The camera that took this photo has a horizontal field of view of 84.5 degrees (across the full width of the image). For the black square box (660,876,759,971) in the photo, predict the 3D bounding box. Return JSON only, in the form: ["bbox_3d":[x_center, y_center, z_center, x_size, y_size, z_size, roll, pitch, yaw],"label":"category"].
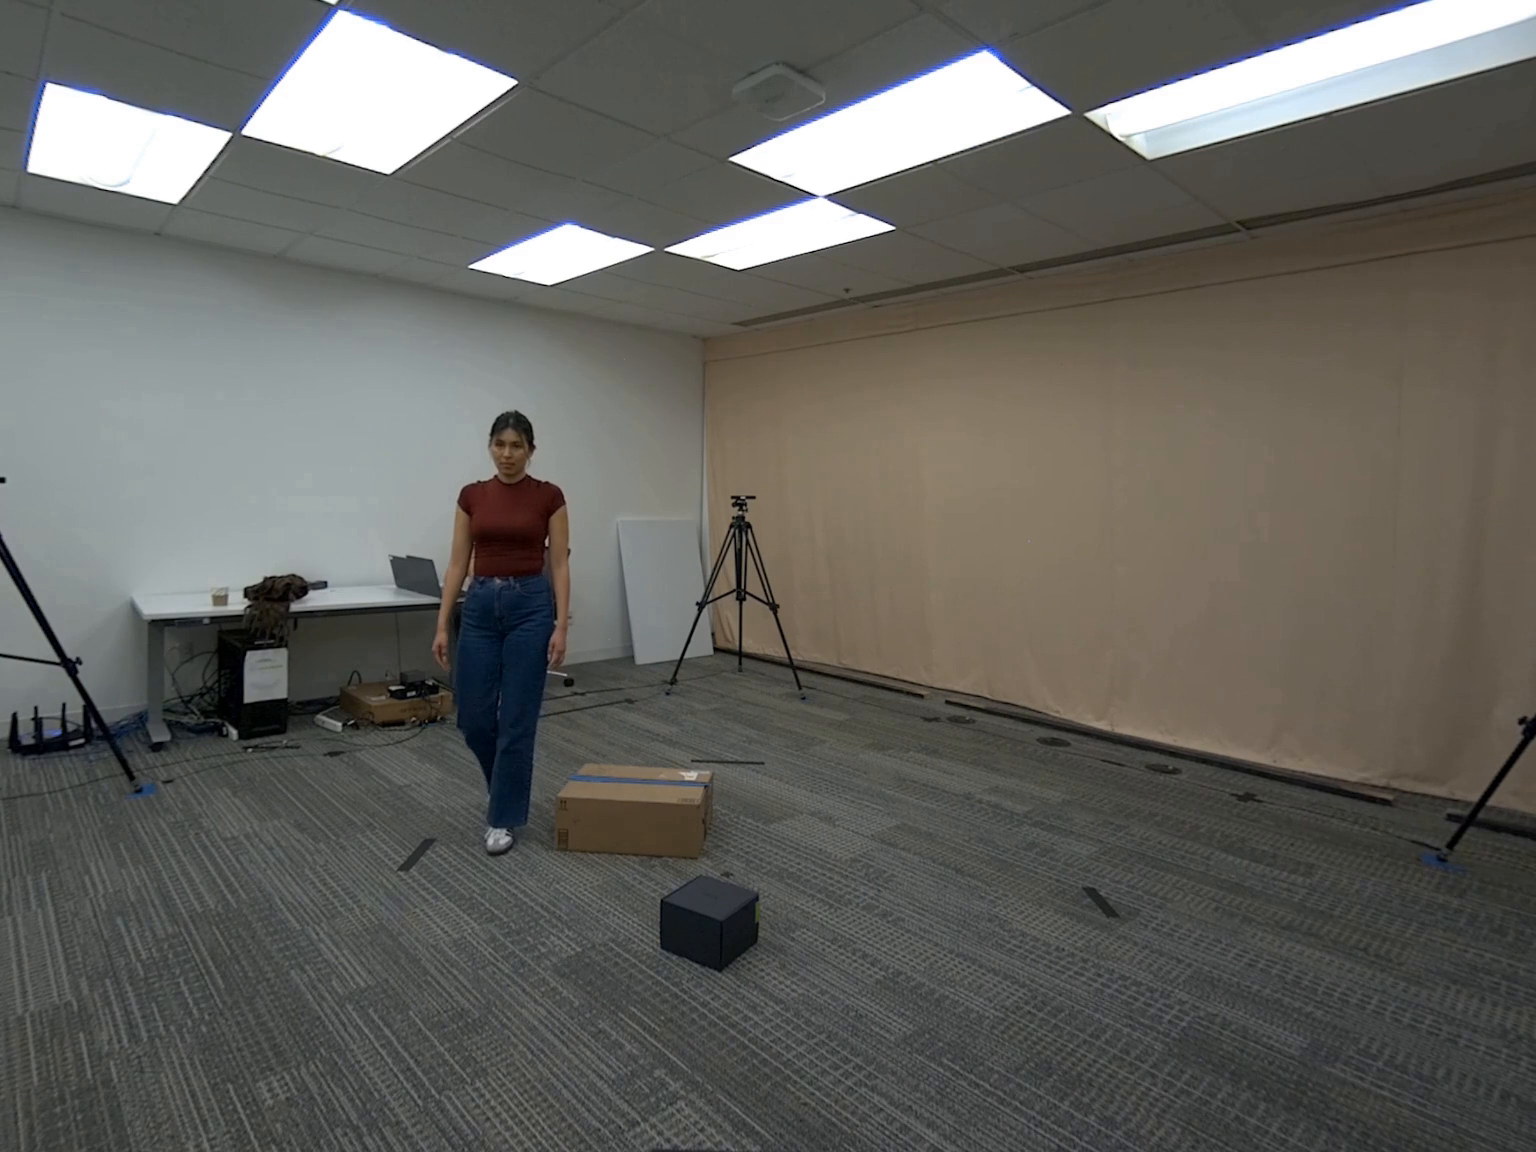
[{"bbox_3d":[-0.184,1.063,2.603,0.233,0.155,0.213,4,5,32],"label":"black square box"}]
